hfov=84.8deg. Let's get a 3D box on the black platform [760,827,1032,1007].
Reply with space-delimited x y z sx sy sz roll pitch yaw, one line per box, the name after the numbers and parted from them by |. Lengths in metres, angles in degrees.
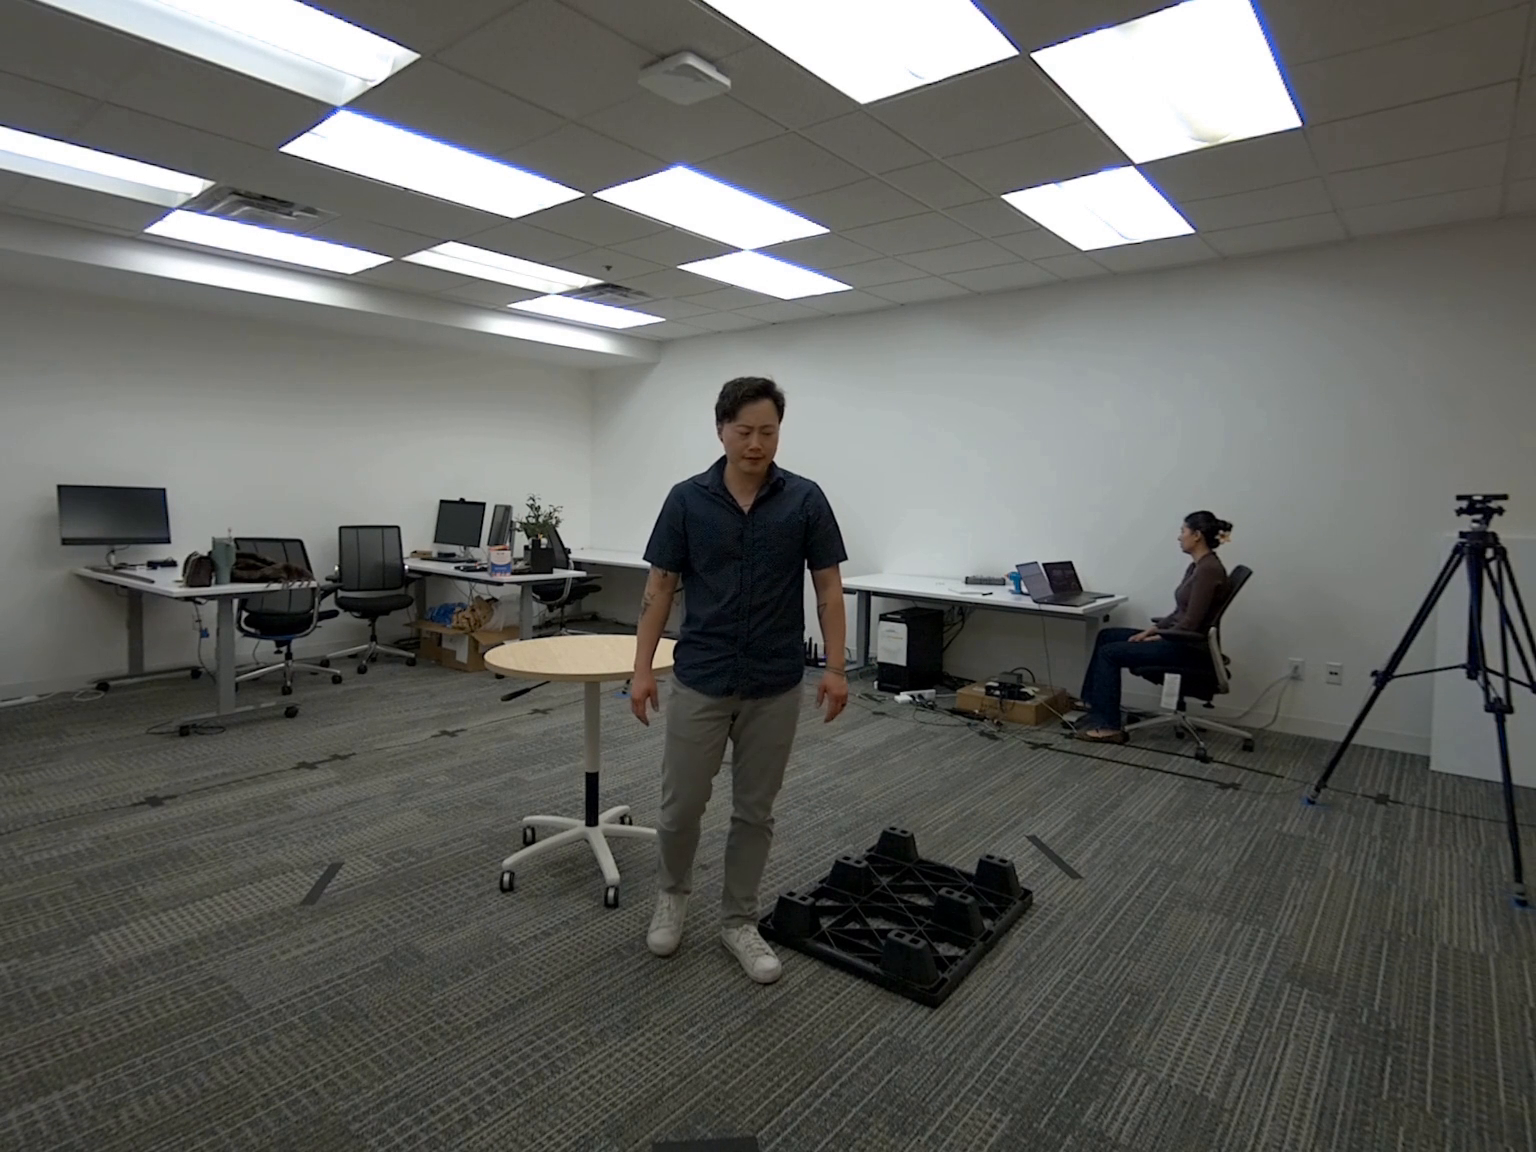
0.429 1.045 2.766 0.625 0.143 0.783 5 7 36 | black platform
